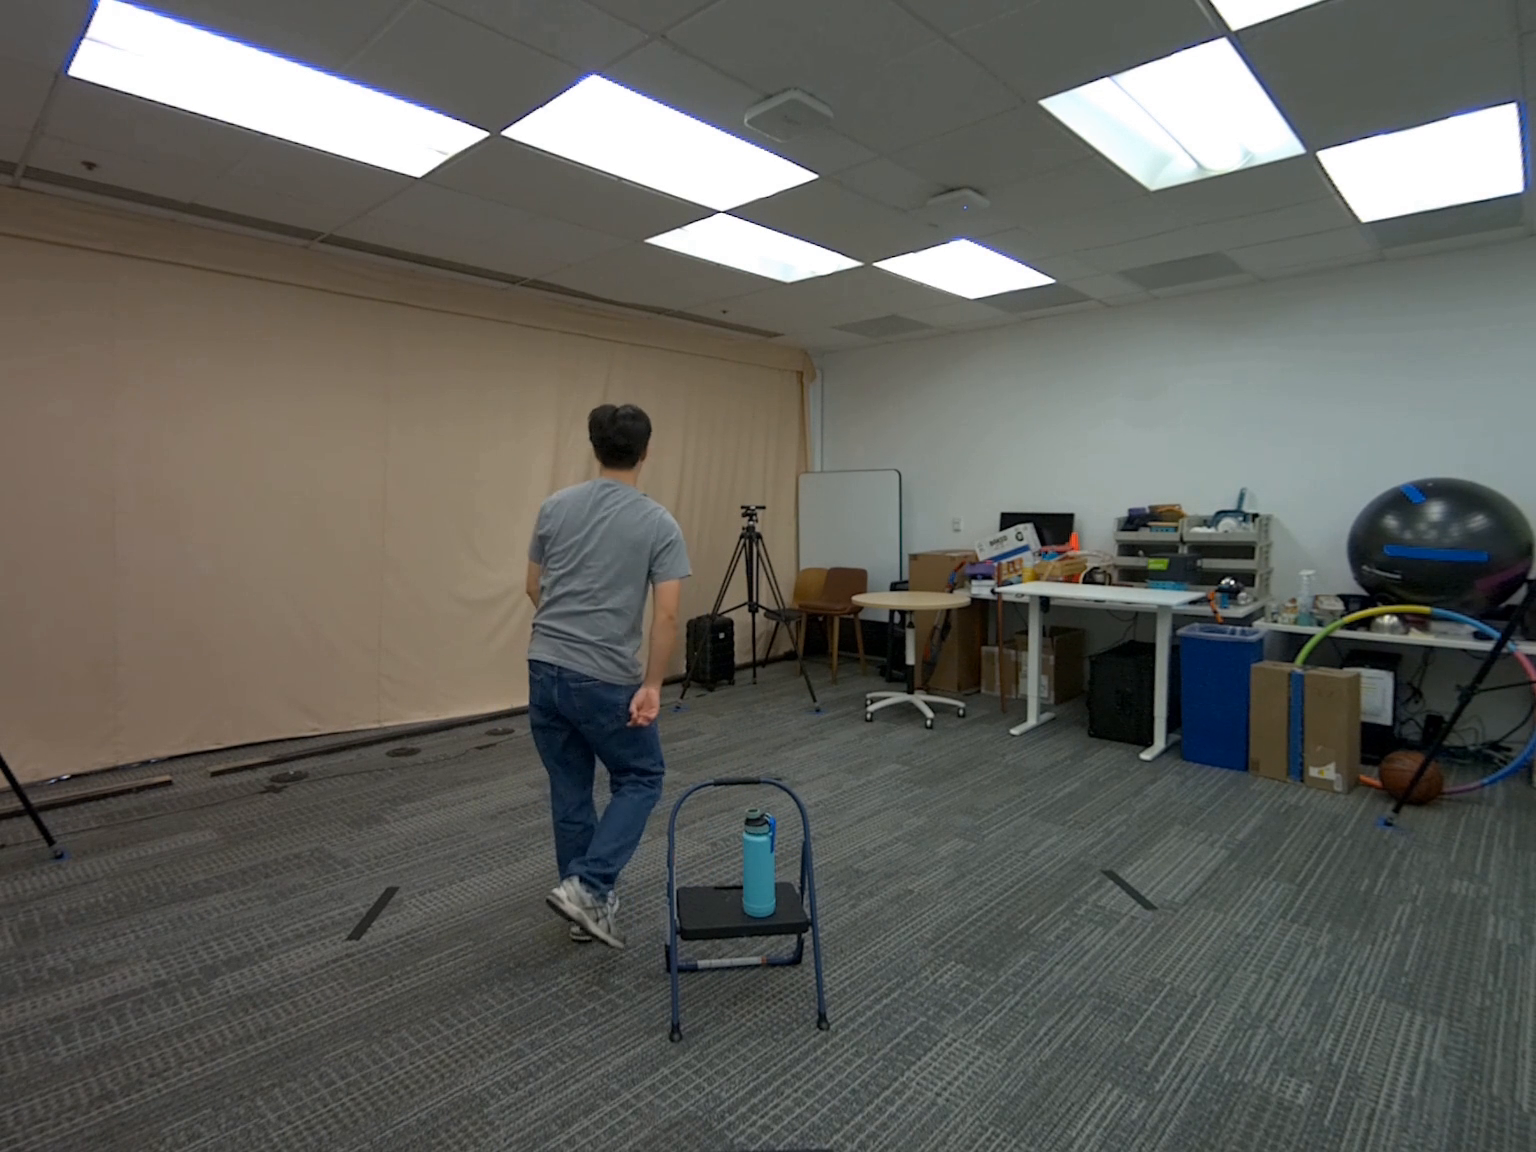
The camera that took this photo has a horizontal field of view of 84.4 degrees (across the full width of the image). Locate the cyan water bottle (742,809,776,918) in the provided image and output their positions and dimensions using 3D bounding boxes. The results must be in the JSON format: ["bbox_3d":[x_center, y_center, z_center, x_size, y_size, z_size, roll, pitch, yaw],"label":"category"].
[{"bbox_3d":[-0.028,0.793,2.342,0.092,0.283,0.093,4,4,-2],"label":"cyan water bottle"}]
